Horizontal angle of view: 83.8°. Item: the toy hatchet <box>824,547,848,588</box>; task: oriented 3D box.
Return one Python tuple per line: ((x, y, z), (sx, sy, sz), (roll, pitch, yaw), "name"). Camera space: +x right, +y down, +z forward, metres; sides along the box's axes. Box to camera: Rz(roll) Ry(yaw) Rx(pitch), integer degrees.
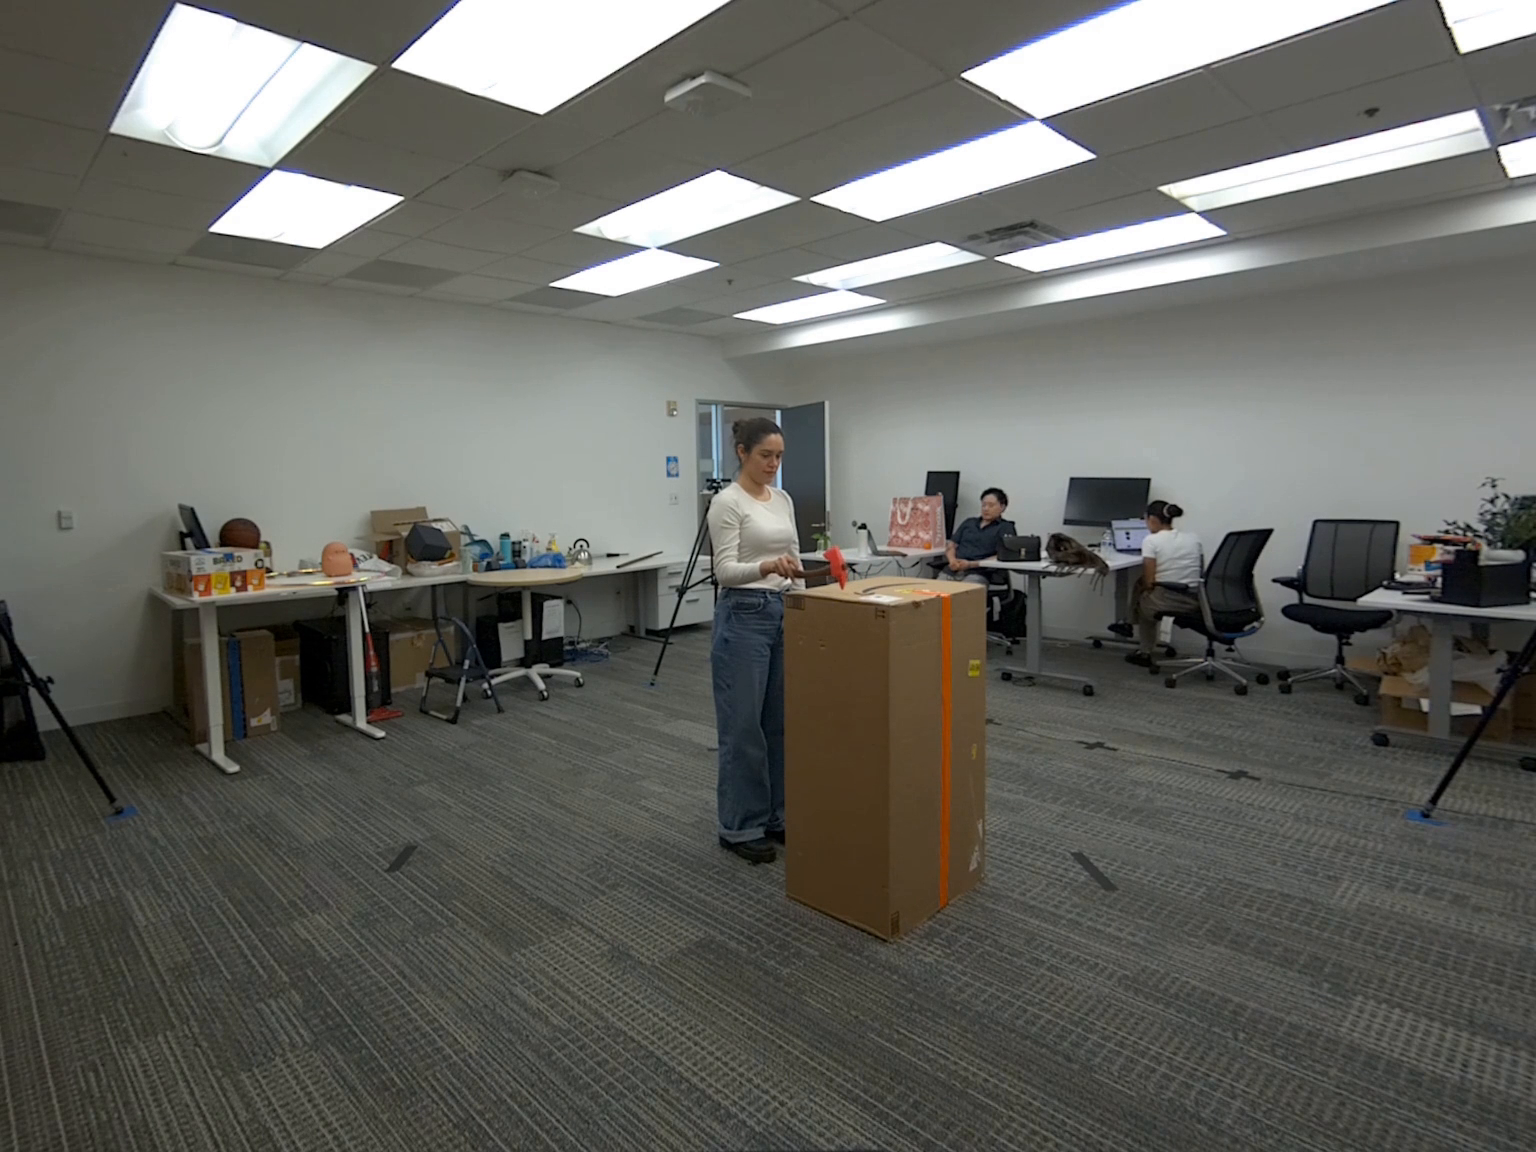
((0.157, -0.037, 2.746), (0.029, 0.130, 0.279), (-6, 12, -40), "toy hatchet")
